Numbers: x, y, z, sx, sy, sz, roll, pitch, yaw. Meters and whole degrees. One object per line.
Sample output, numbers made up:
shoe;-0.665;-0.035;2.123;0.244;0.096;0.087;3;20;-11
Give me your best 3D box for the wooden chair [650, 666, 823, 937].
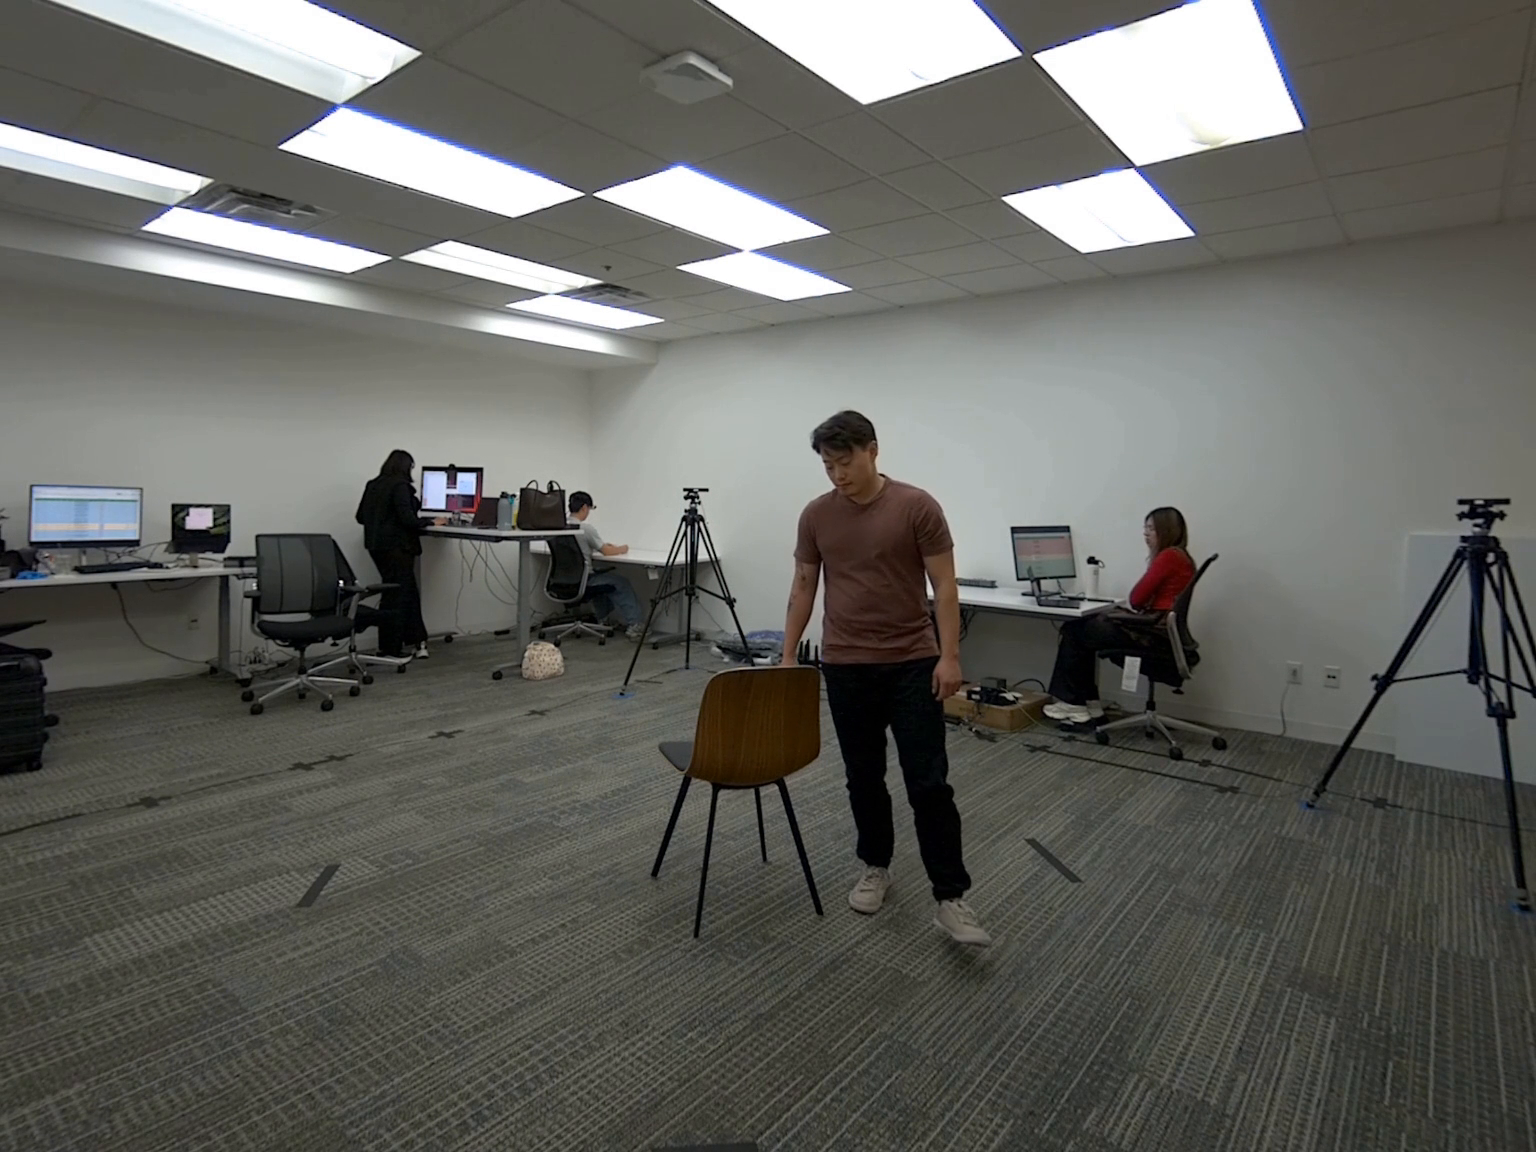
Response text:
wooden chair;-0.119;0.668;2.894;0.467;0.872;0.538;0;7;-23
